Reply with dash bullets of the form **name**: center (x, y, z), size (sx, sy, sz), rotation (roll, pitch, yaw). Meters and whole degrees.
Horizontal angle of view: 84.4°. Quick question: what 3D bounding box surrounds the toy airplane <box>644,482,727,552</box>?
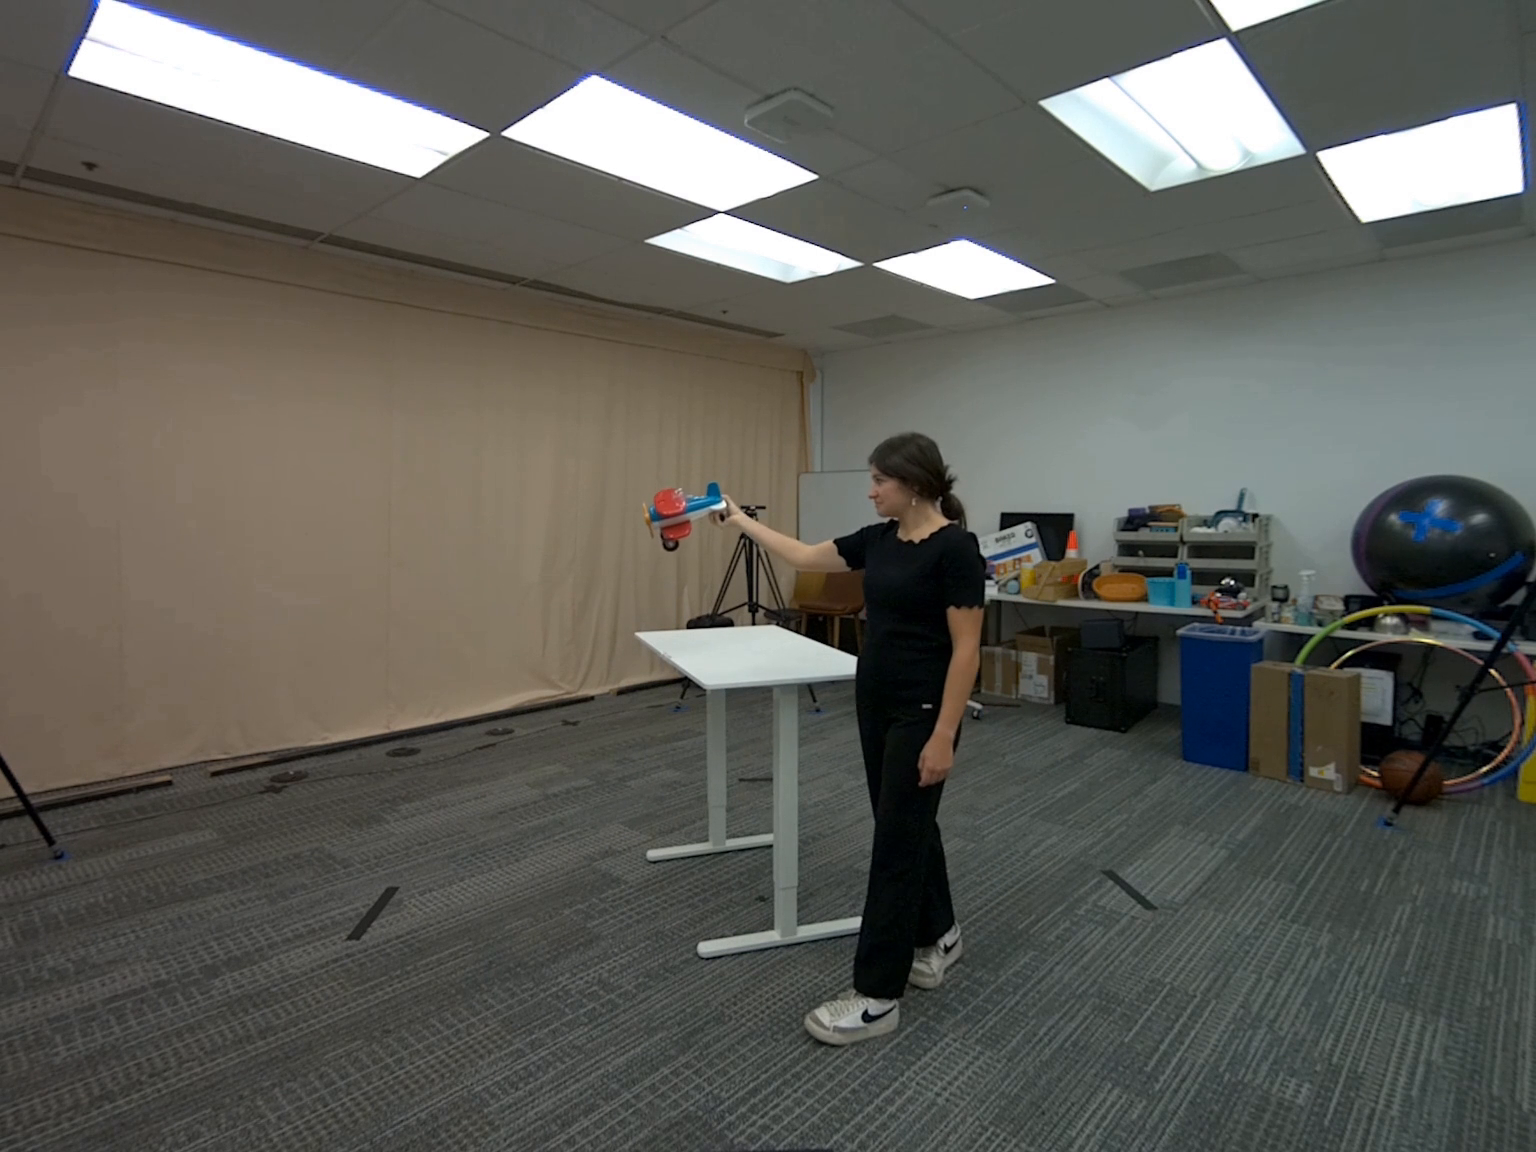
- **toy airplane**: center (-0.262, -0.205, 2.712), size (0.257, 0.153, 0.259), rotation (-40, 26, -25)
